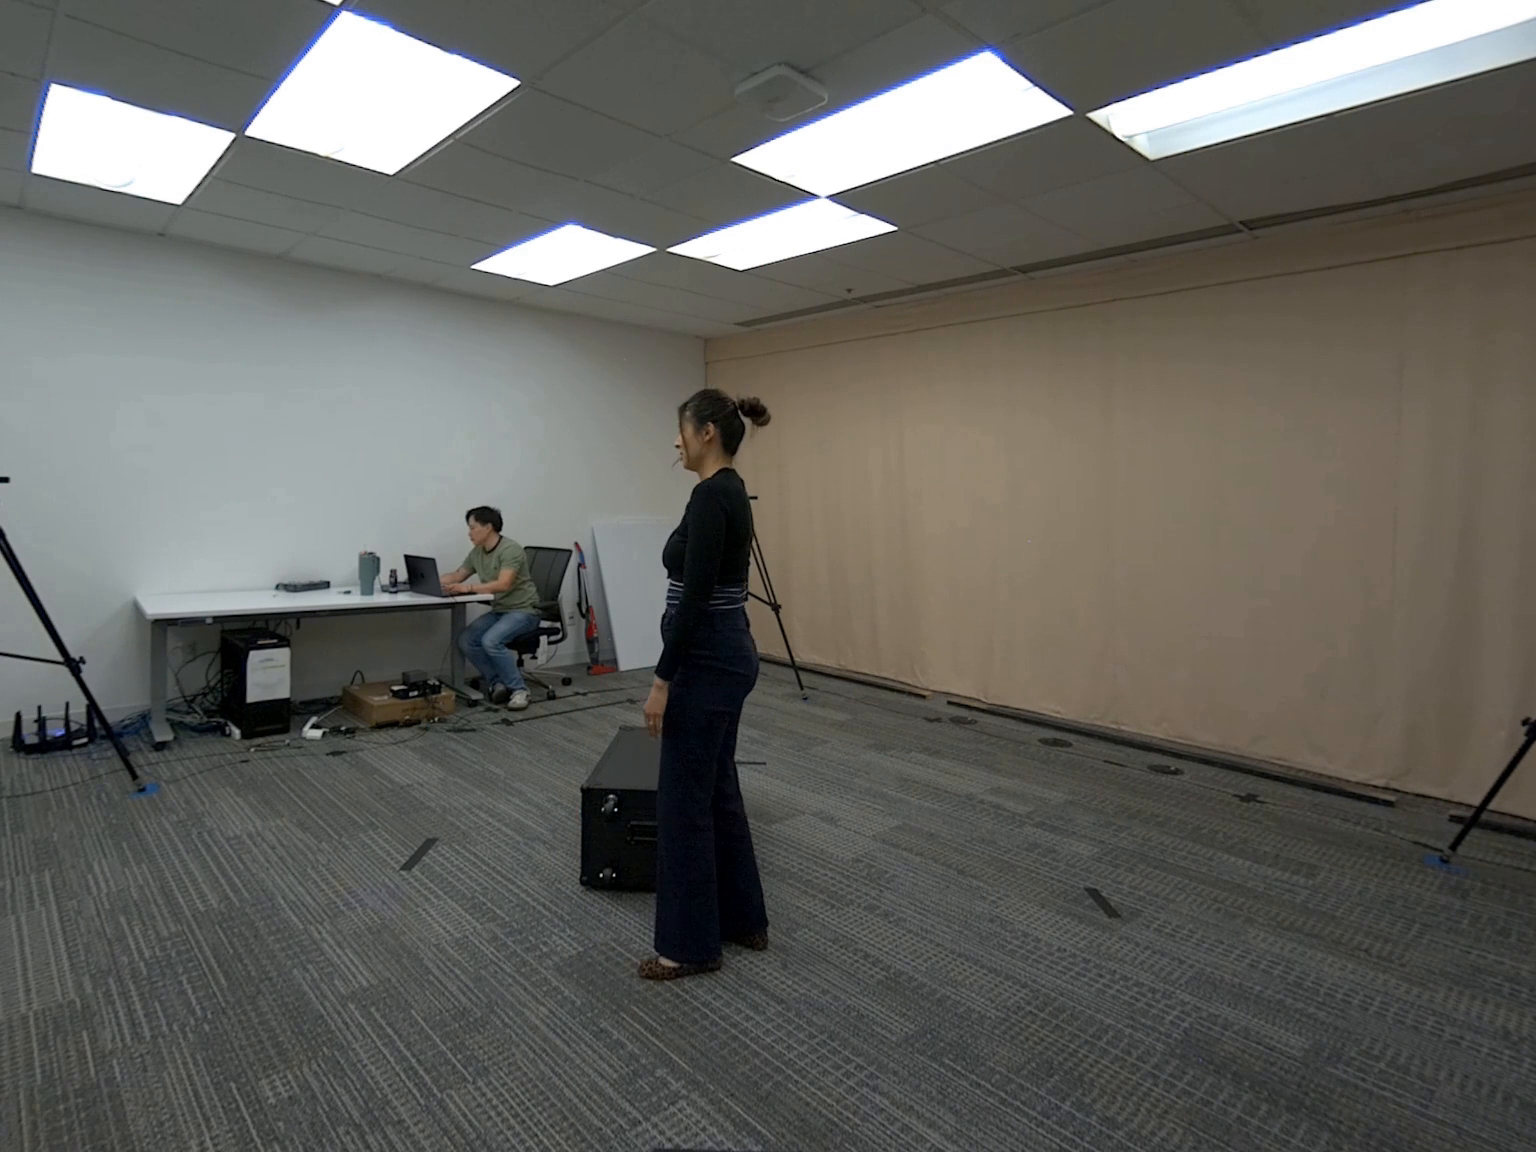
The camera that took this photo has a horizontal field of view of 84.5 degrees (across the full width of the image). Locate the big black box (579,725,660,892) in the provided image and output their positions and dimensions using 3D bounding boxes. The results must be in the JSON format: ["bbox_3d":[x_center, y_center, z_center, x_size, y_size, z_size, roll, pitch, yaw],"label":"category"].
[{"bbox_3d":[-0.424,0.889,3.274,0.522,0.395,0.863,2,5,0],"label":"big black box"}]
